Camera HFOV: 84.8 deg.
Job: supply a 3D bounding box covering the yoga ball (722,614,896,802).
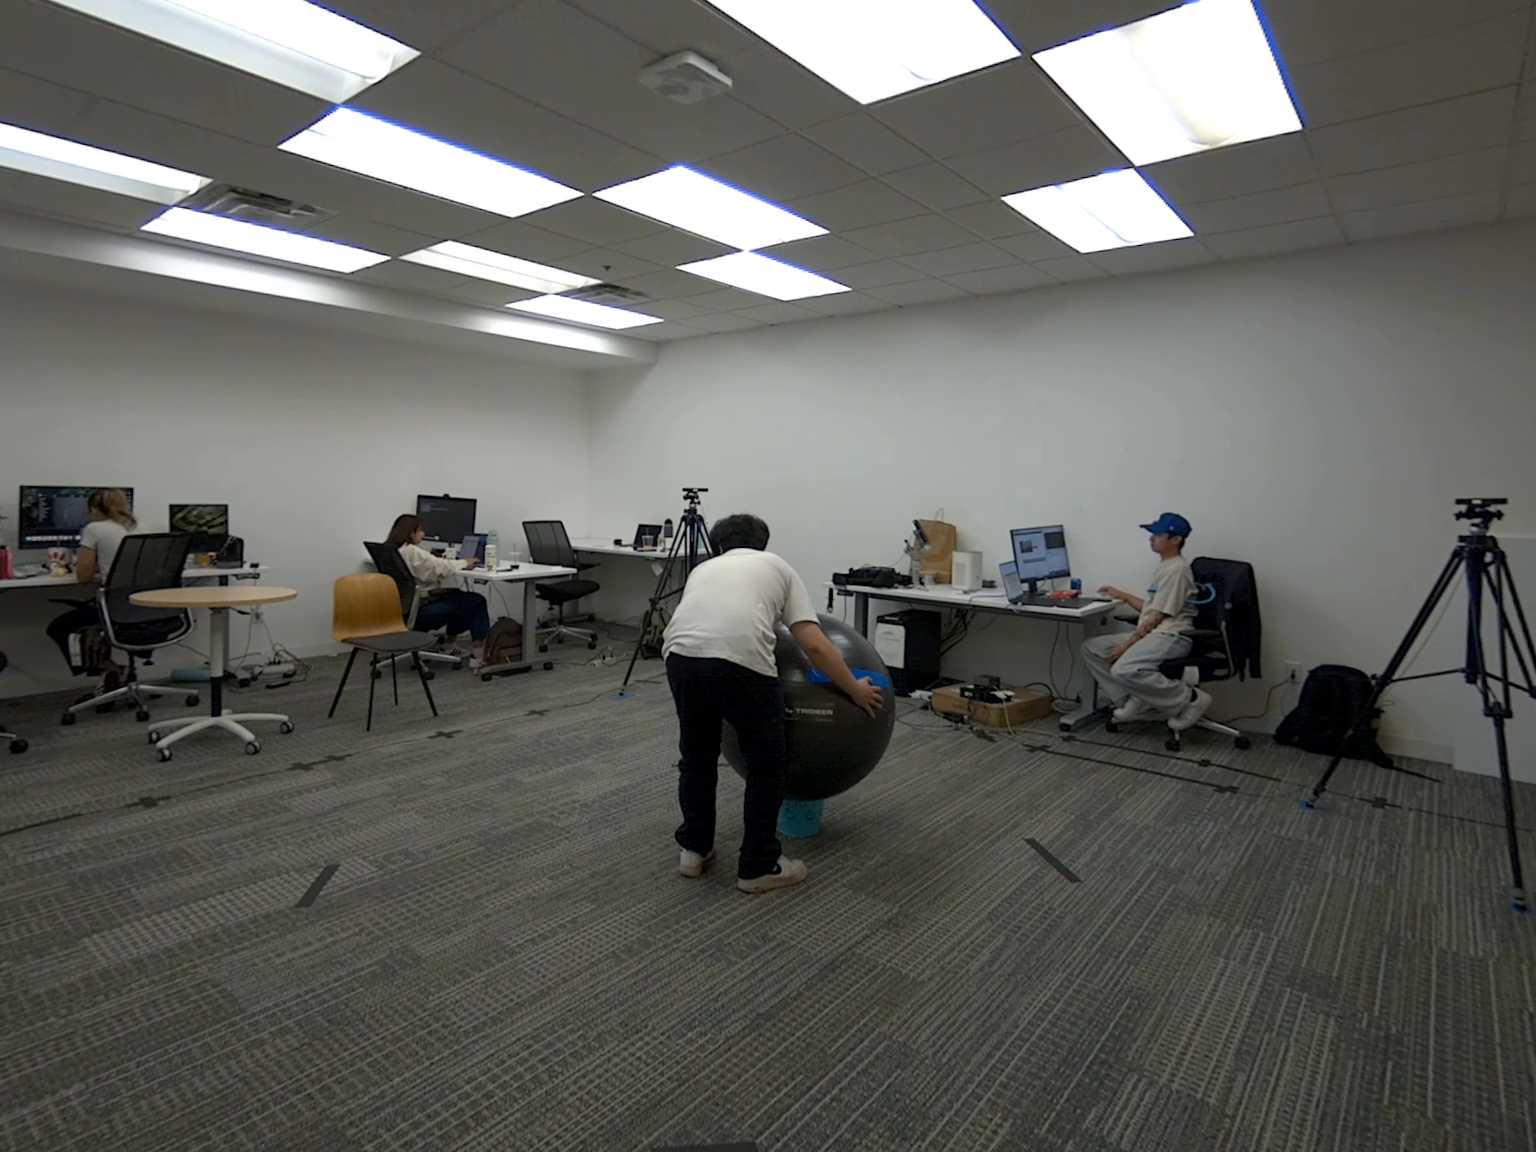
[{"bbox_3d":[0.128,0.523,3.484,0.757,0.755,0.762,1,4,-2],"label":"yoga ball"}]
